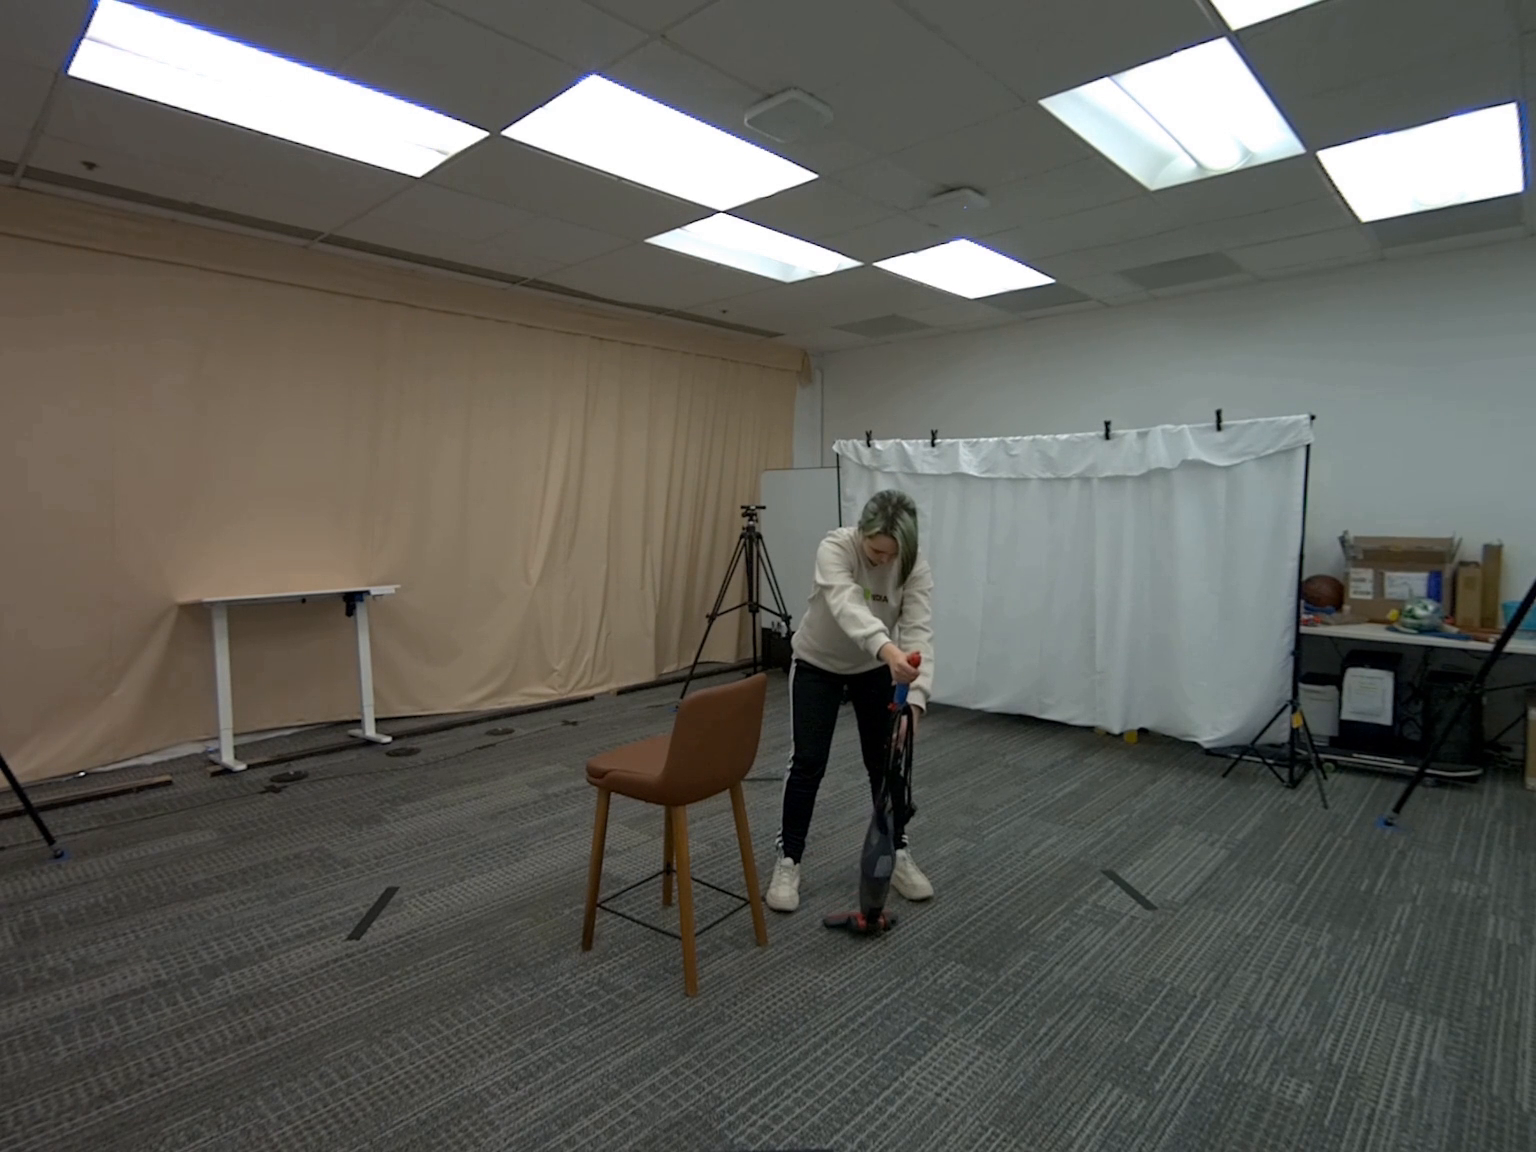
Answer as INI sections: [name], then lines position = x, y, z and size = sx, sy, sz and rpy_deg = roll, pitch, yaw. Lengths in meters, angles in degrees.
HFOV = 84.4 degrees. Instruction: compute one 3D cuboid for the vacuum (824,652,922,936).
[vacuum]
position = 0.364, 0.694, 2.527
size = 0.248, 1.035, 0.148
rpy_deg = -5, 29, -18
